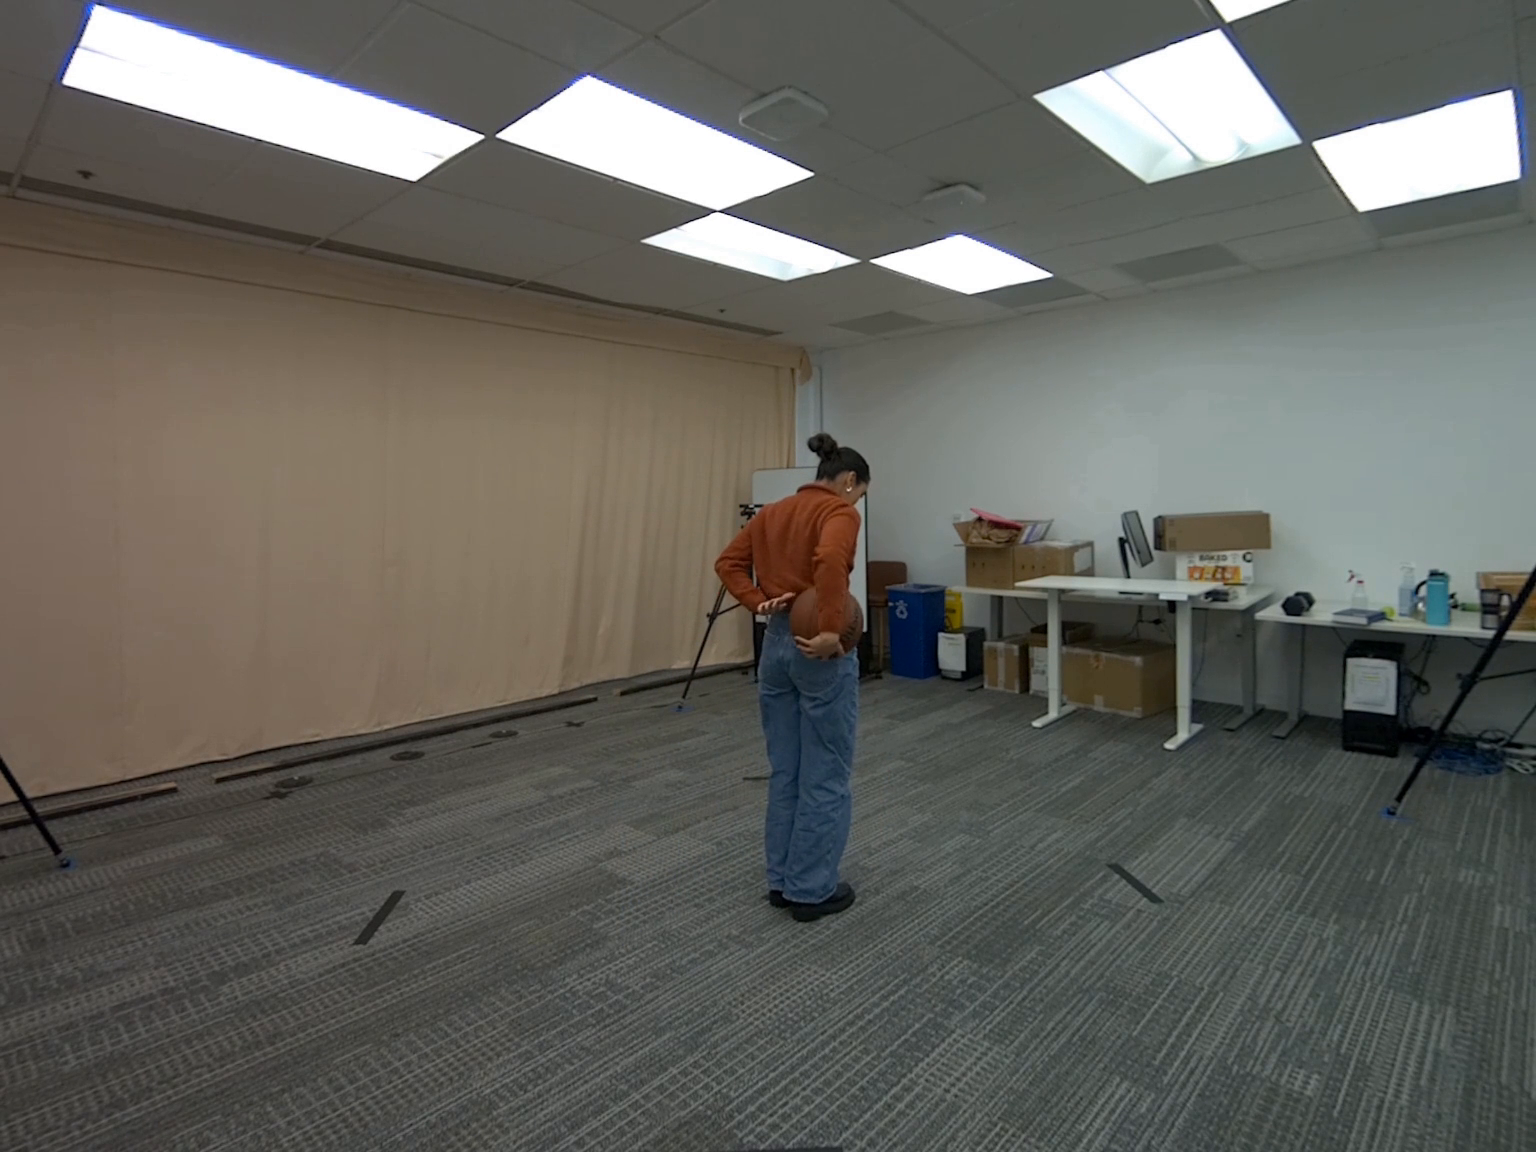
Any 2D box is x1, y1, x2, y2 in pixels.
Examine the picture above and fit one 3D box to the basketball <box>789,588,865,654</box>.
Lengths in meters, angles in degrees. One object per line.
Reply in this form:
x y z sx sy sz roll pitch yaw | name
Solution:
0.188 0.141 2.709 0.236 0.235 0.237 -1 4 -2 | basketball
